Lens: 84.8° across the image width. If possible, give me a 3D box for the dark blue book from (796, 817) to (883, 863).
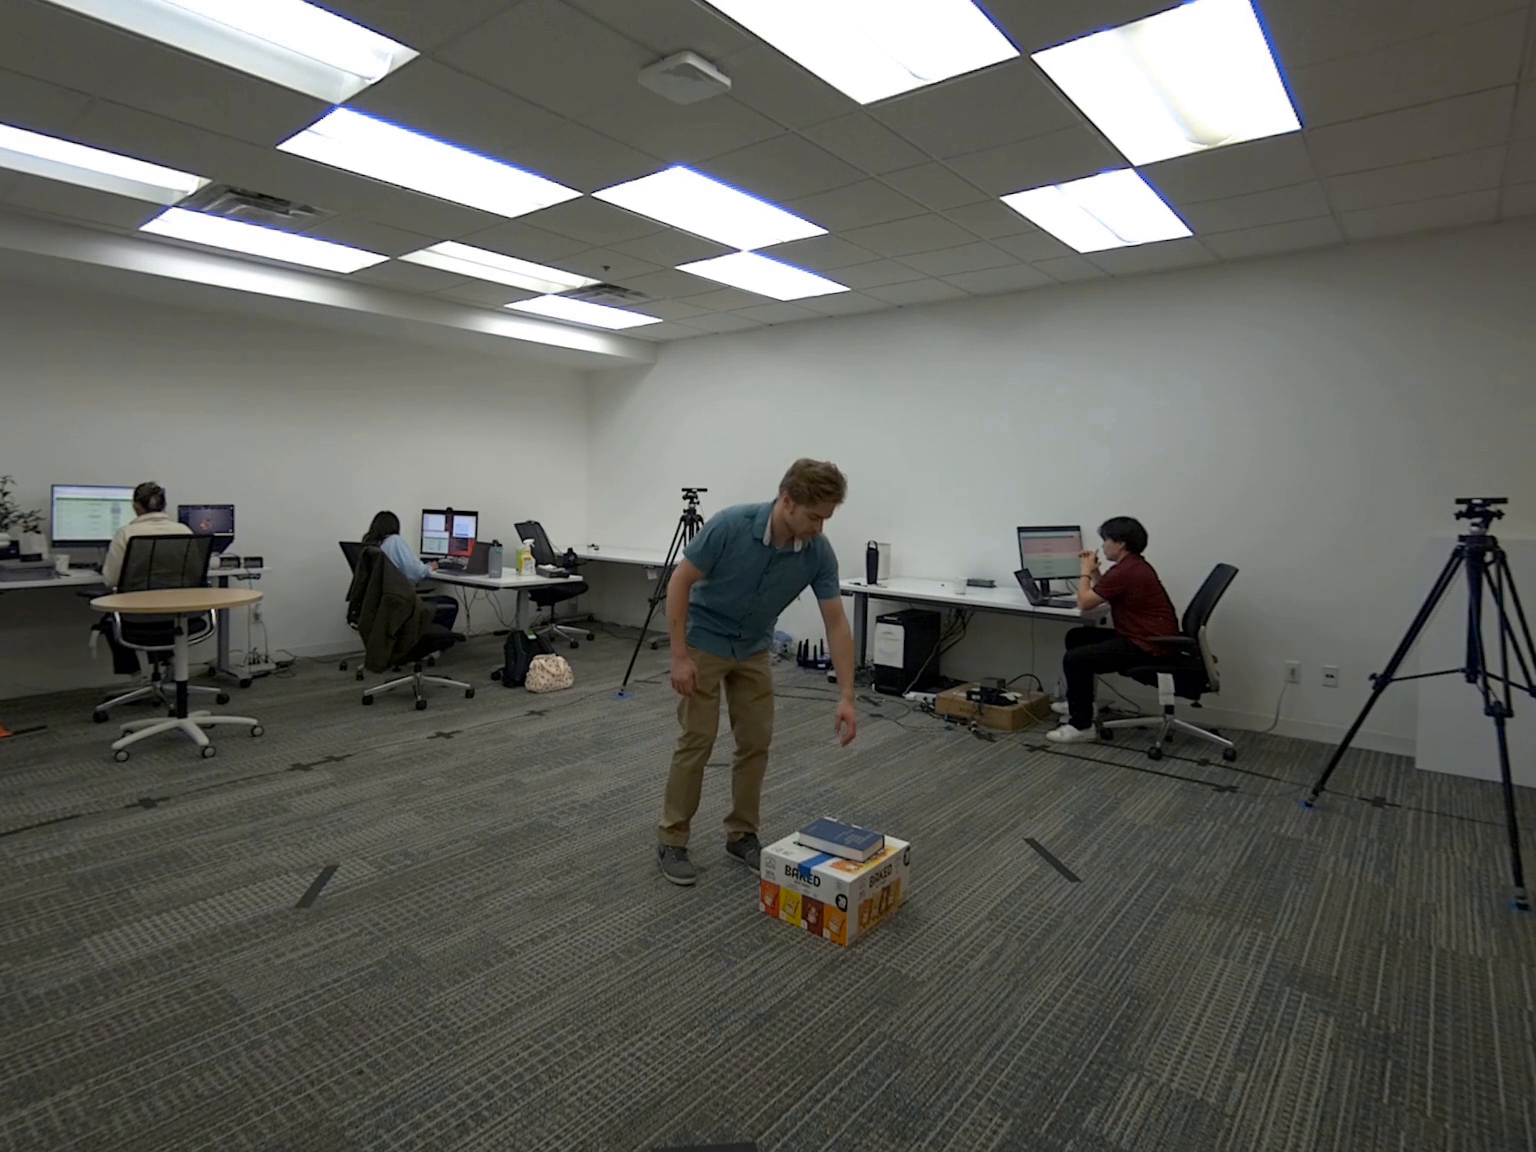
[{"bbox_3d":[0.251,0.889,2.871,0.253,0.045,0.159,5,8,34],"label":"dark blue book"}]
